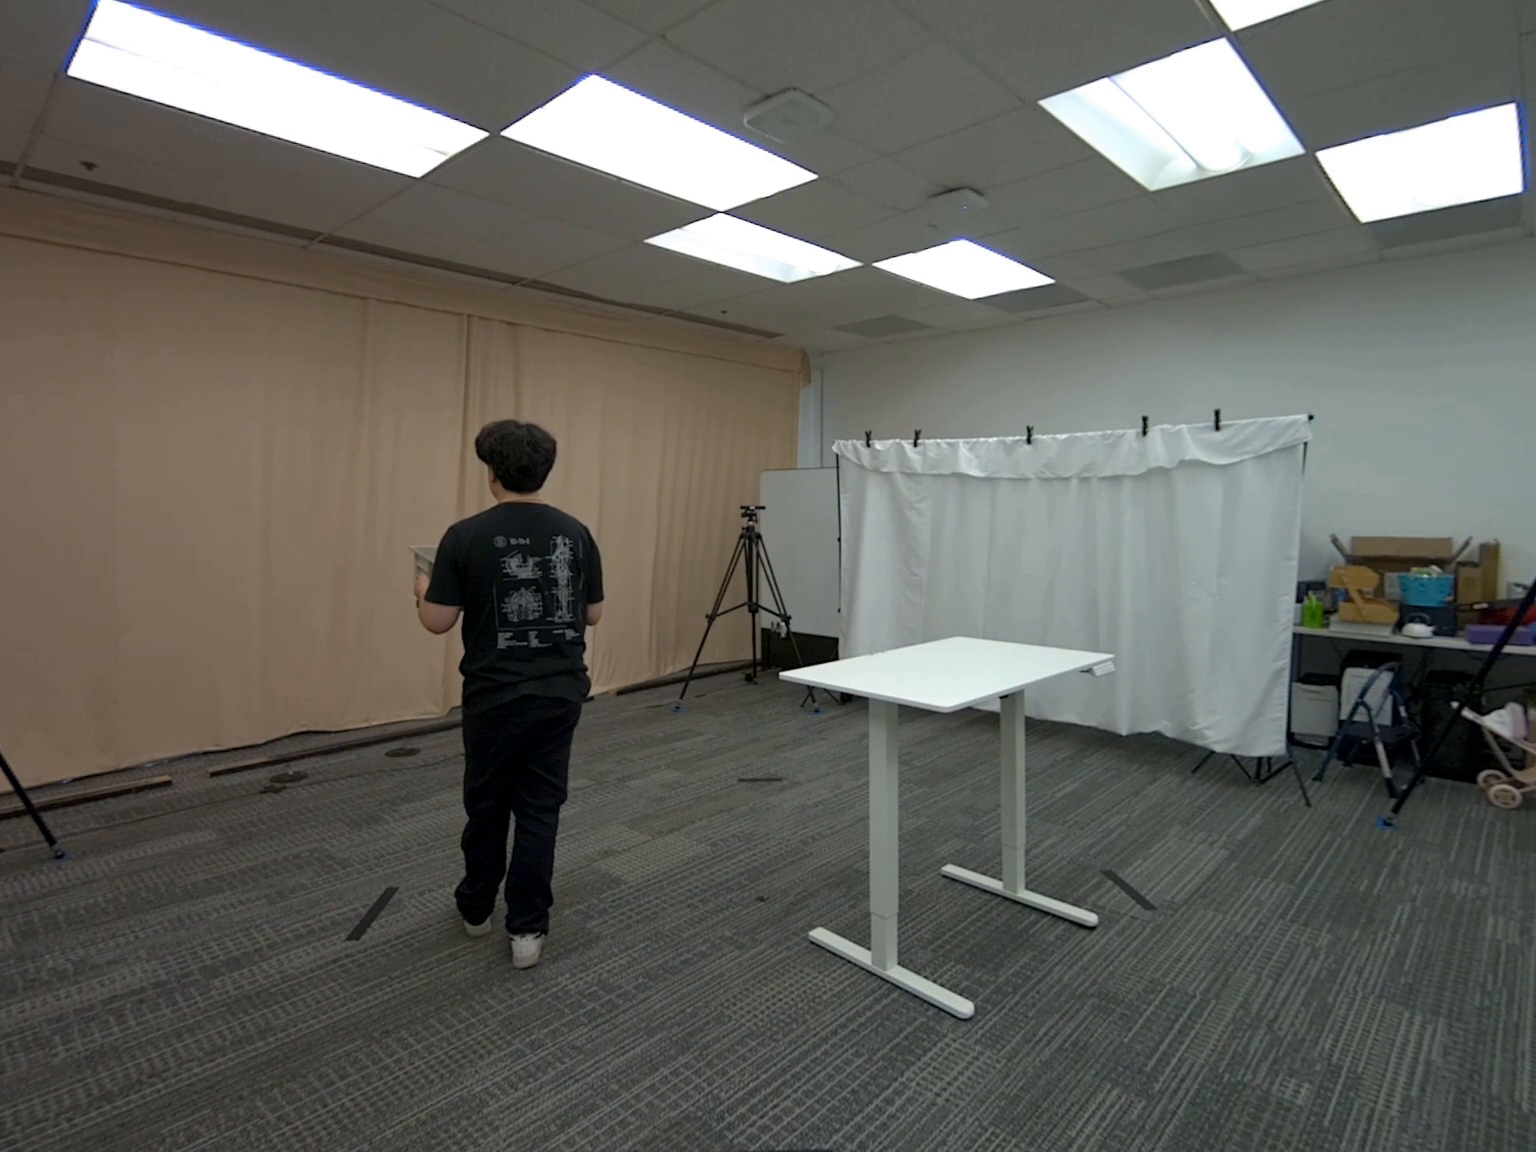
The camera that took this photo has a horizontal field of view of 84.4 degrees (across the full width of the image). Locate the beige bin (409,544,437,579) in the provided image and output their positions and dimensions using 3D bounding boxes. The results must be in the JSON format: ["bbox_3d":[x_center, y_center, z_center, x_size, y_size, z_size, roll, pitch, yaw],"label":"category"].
[{"bbox_3d":[-0.983,0.007,2.897,0.410,0.188,0.390,-3,9,-33],"label":"beige bin"}]
